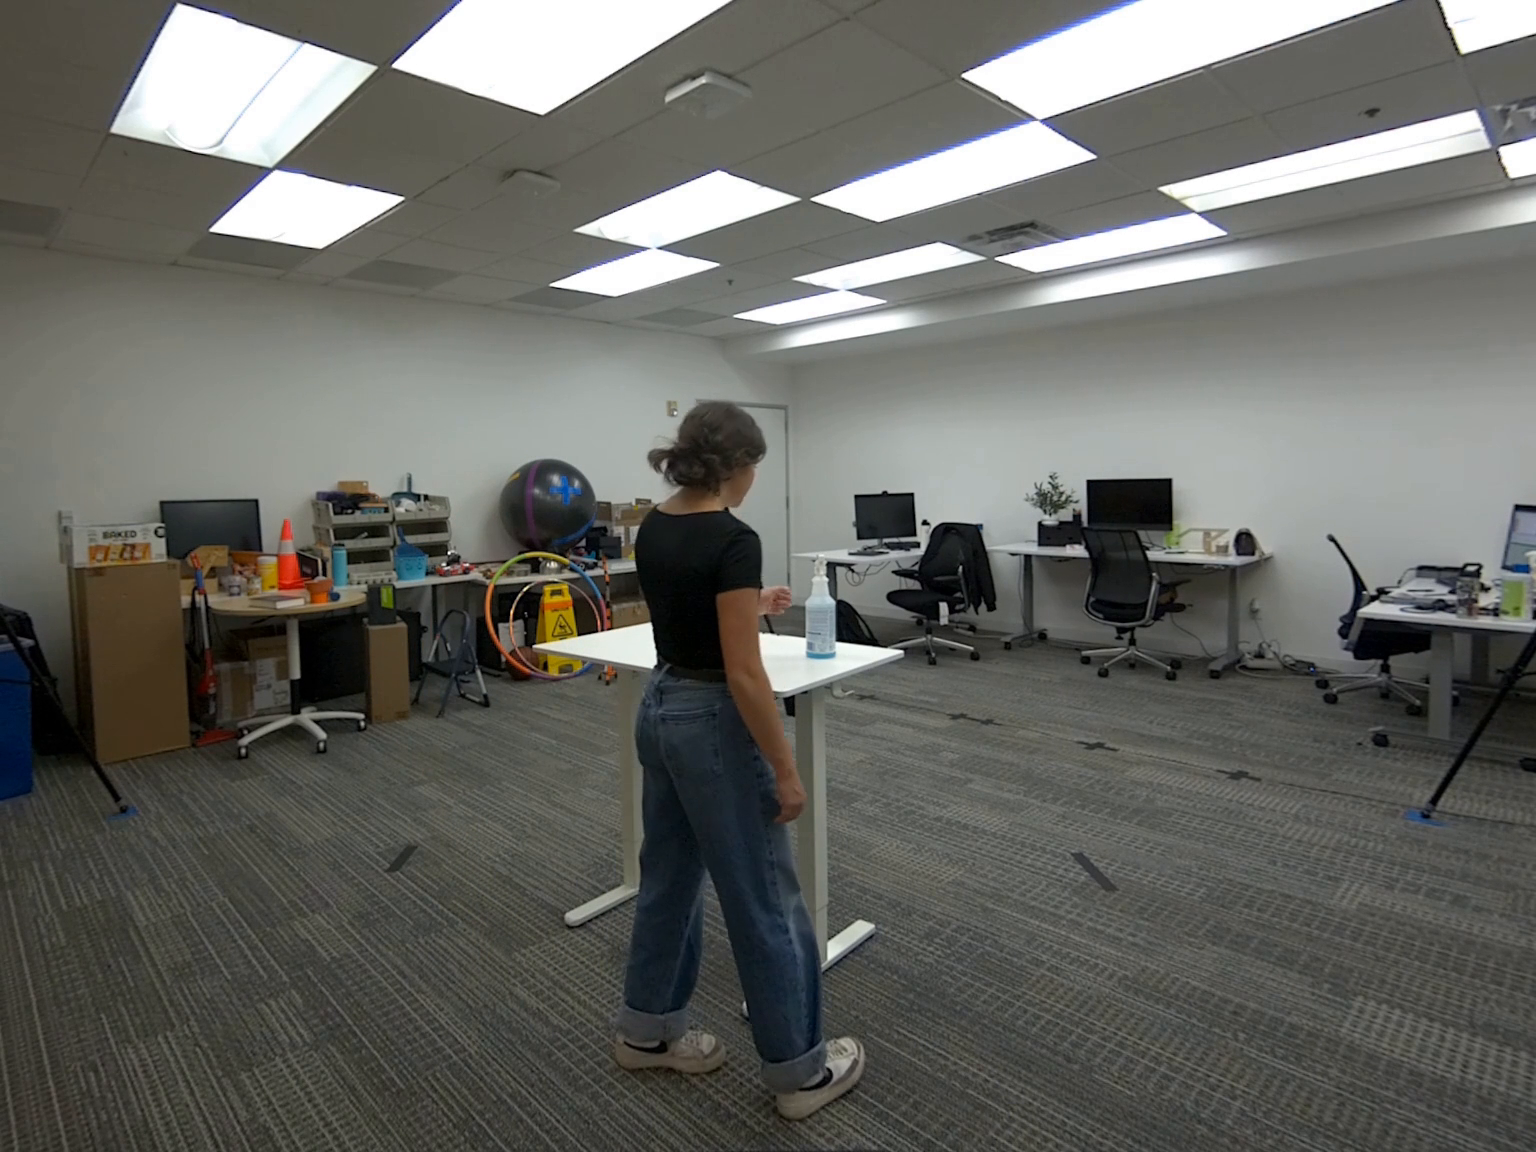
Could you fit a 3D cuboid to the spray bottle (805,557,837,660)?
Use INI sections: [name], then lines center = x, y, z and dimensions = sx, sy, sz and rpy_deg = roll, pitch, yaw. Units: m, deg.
[spray bottle]
center = 0.159, 0.090, 2.452
dimensions = 0.089, 0.296, 0.088
rpy_deg = 2, 6, 22
